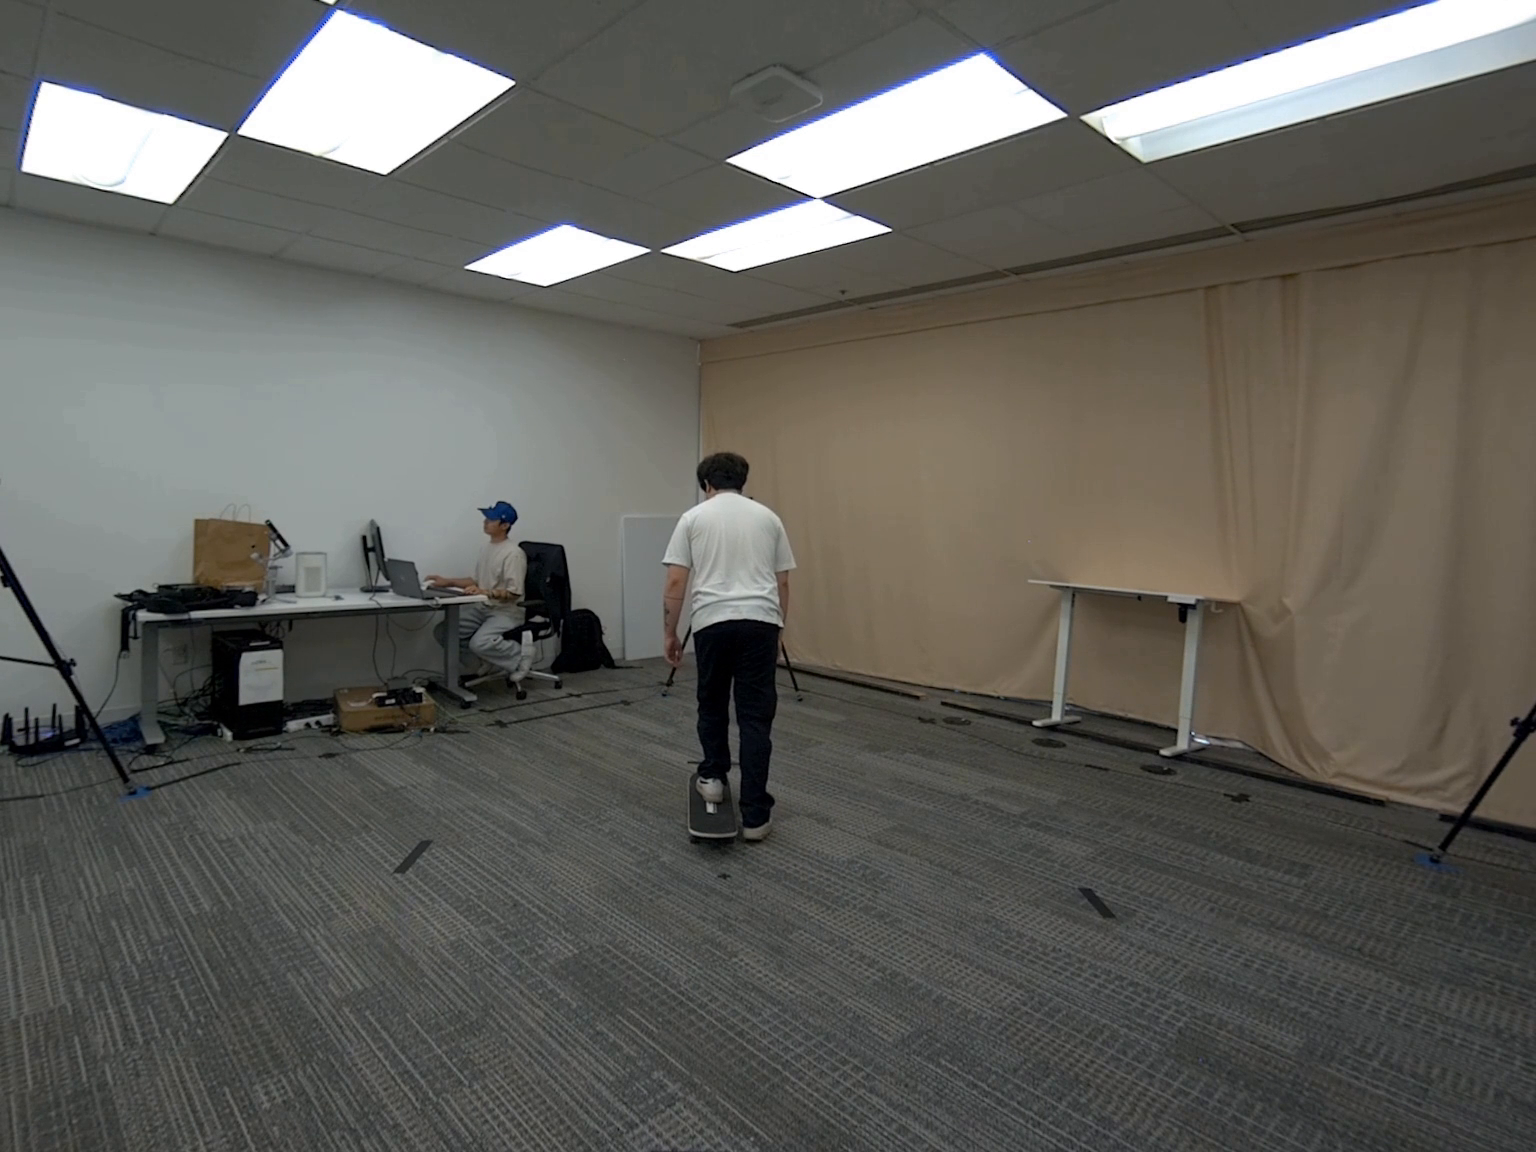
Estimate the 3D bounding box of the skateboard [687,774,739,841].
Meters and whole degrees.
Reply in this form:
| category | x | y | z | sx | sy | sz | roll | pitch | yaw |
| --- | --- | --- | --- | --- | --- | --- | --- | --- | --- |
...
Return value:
| category | x | y | z | sx | sy | sz | roll | pitch | yaw |
| --- | --- | --- | --- | --- | --- | --- | --- | --- | --- |
| skateboard | -0.255 | 1.001 | 3.606 | 0.193 | 0.110 | 0.791 | 1 | 6 | -5 |
